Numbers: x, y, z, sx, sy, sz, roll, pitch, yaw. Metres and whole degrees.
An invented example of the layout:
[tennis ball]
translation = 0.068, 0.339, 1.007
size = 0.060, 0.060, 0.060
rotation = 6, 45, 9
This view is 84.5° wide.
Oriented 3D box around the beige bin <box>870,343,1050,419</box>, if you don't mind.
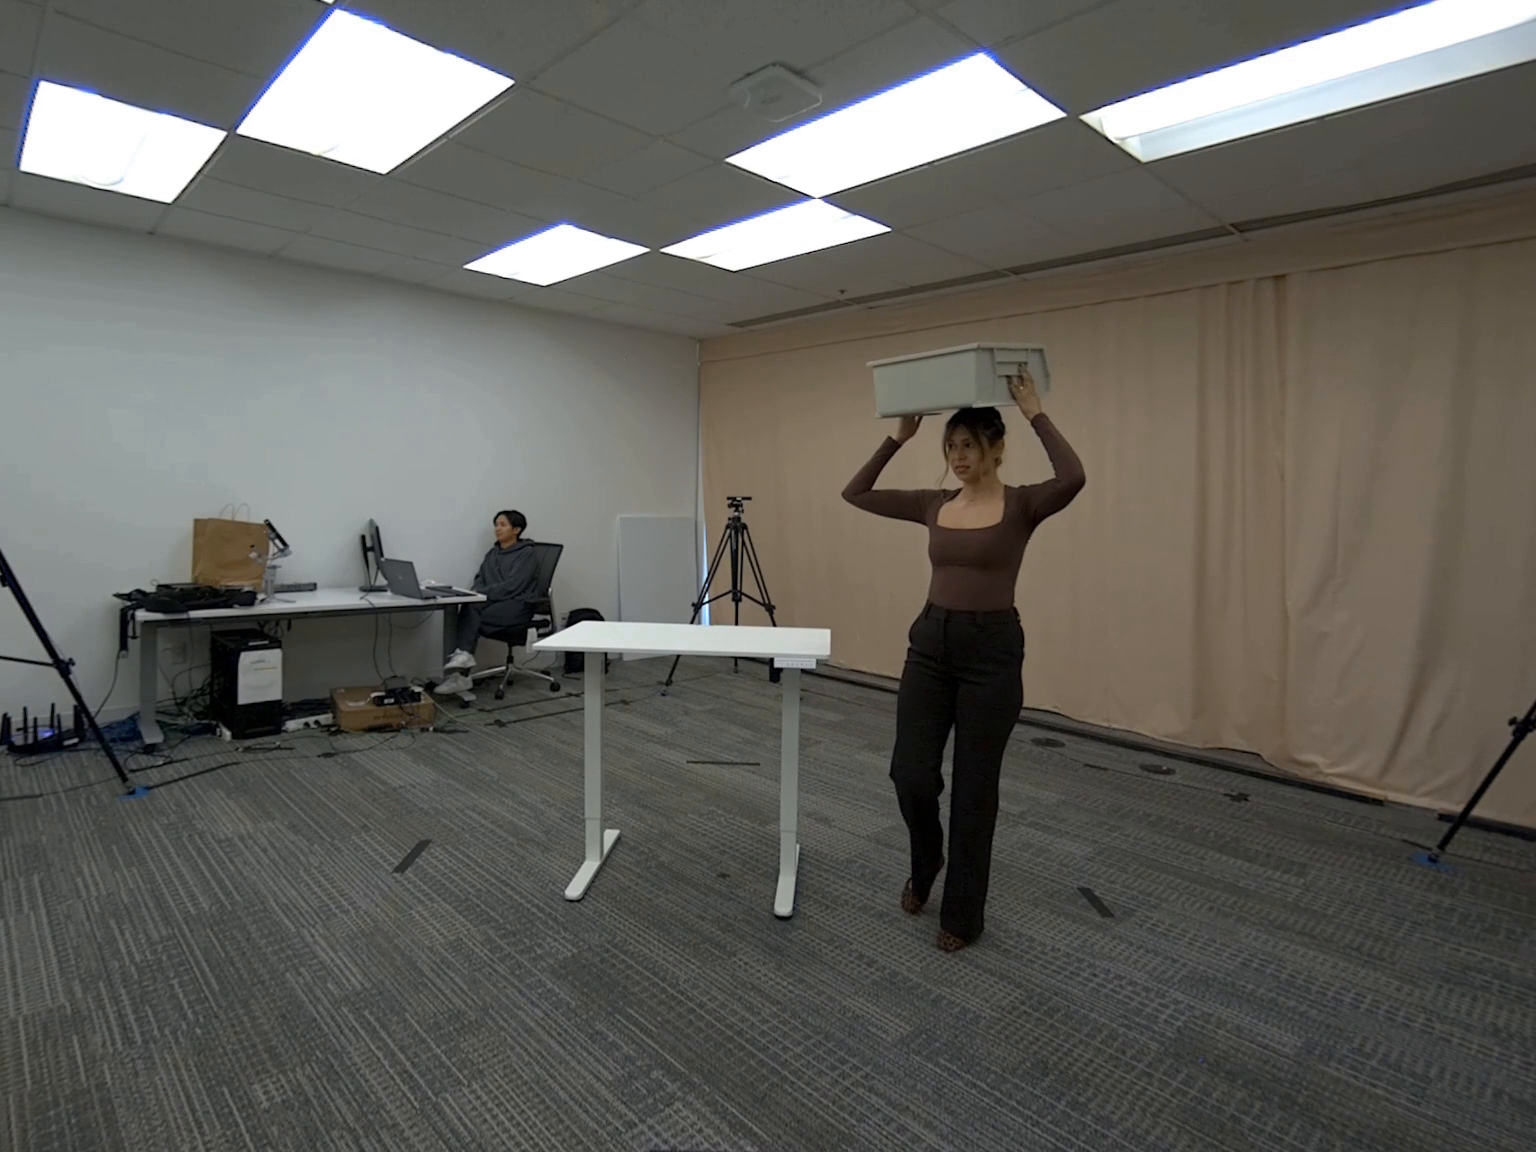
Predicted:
[beige bin]
translation = 0.592, -0.608, 2.655
size = 0.370, 0.188, 0.433
rotation = -12, 11, -38
